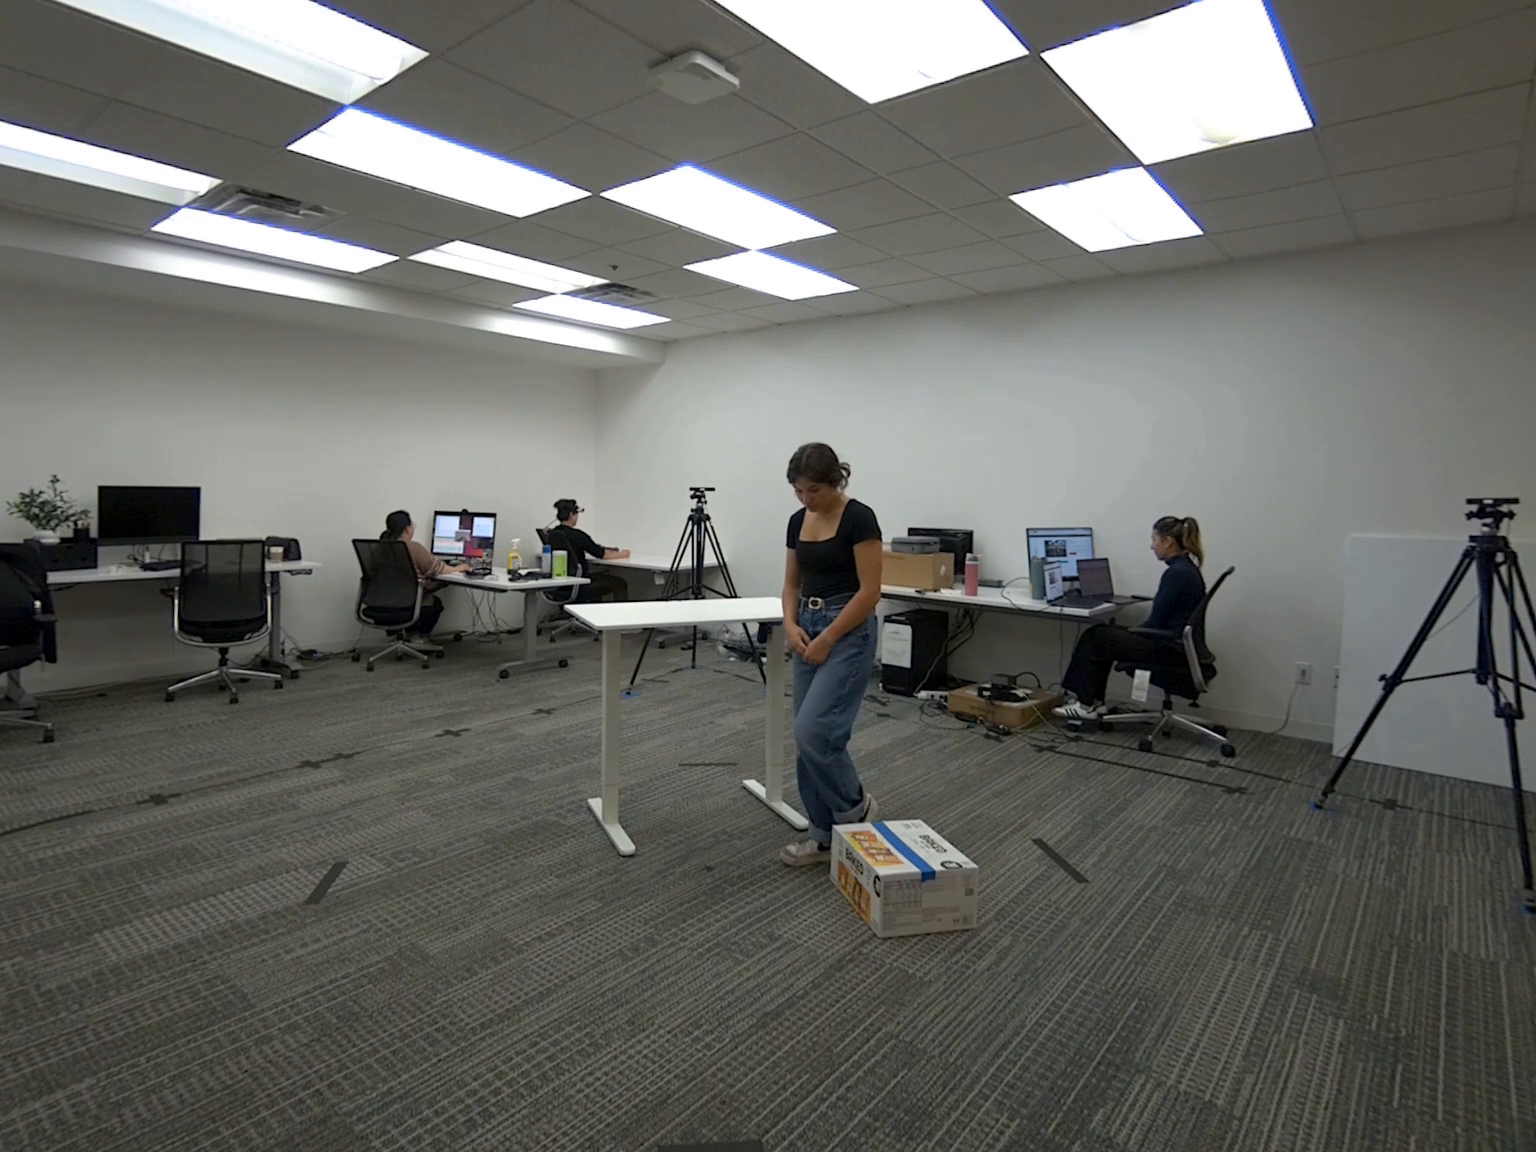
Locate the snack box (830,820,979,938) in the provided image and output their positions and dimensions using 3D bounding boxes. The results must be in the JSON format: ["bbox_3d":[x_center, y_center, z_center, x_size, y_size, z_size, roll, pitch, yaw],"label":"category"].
[{"bbox_3d":[0.445,1.004,2.868,0.335,0.205,0.413,0,6,-16],"label":"snack box"}]
